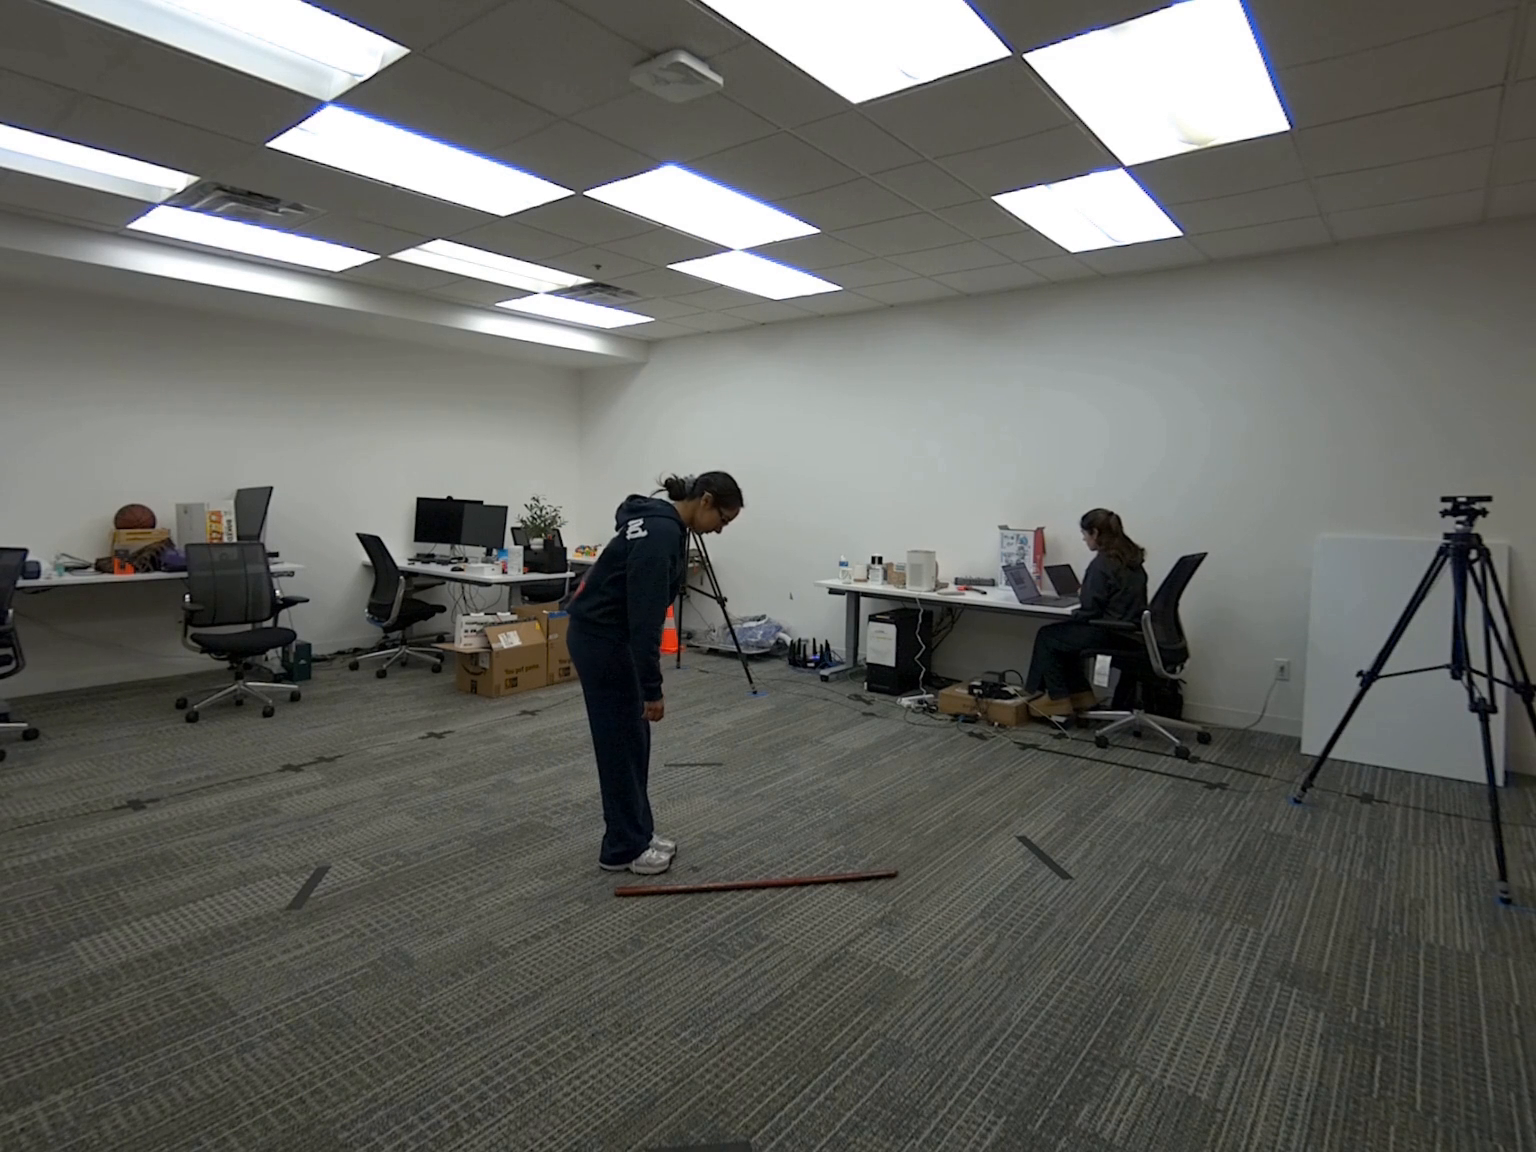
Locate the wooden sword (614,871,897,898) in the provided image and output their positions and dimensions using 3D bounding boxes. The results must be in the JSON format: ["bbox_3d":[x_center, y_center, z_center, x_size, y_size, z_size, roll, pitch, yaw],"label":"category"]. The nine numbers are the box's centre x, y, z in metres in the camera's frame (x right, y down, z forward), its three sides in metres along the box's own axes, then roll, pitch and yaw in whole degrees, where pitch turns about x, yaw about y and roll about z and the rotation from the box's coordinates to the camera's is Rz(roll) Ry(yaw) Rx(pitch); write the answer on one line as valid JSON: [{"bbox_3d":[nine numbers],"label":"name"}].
[{"bbox_3d":[-0.020,1.069,2.972,1.012,0.052,0.024,0,-25,-12],"label":"wooden sword"}]
